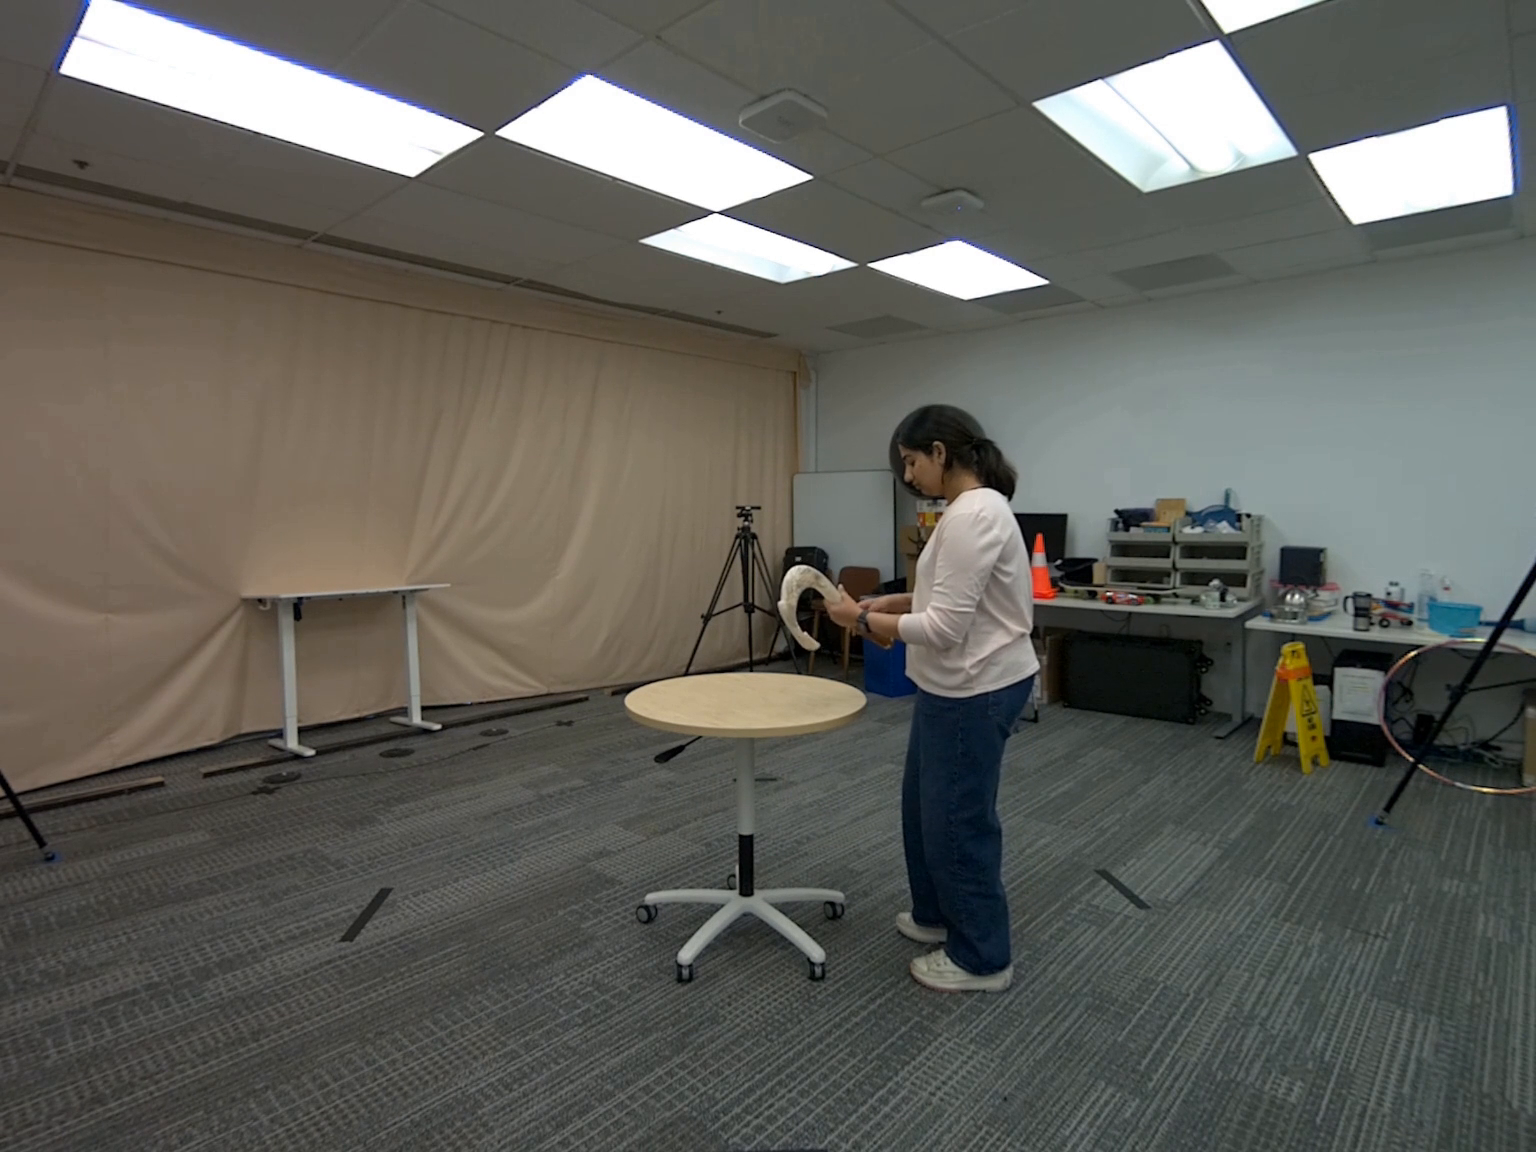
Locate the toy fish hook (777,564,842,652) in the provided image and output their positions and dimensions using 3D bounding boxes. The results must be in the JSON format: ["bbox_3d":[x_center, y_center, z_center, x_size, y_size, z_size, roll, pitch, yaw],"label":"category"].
[{"bbox_3d":[0.212,0.152,2.450,0.050,0.225,0.489,-4,-30,46],"label":"toy fish hook"}]
